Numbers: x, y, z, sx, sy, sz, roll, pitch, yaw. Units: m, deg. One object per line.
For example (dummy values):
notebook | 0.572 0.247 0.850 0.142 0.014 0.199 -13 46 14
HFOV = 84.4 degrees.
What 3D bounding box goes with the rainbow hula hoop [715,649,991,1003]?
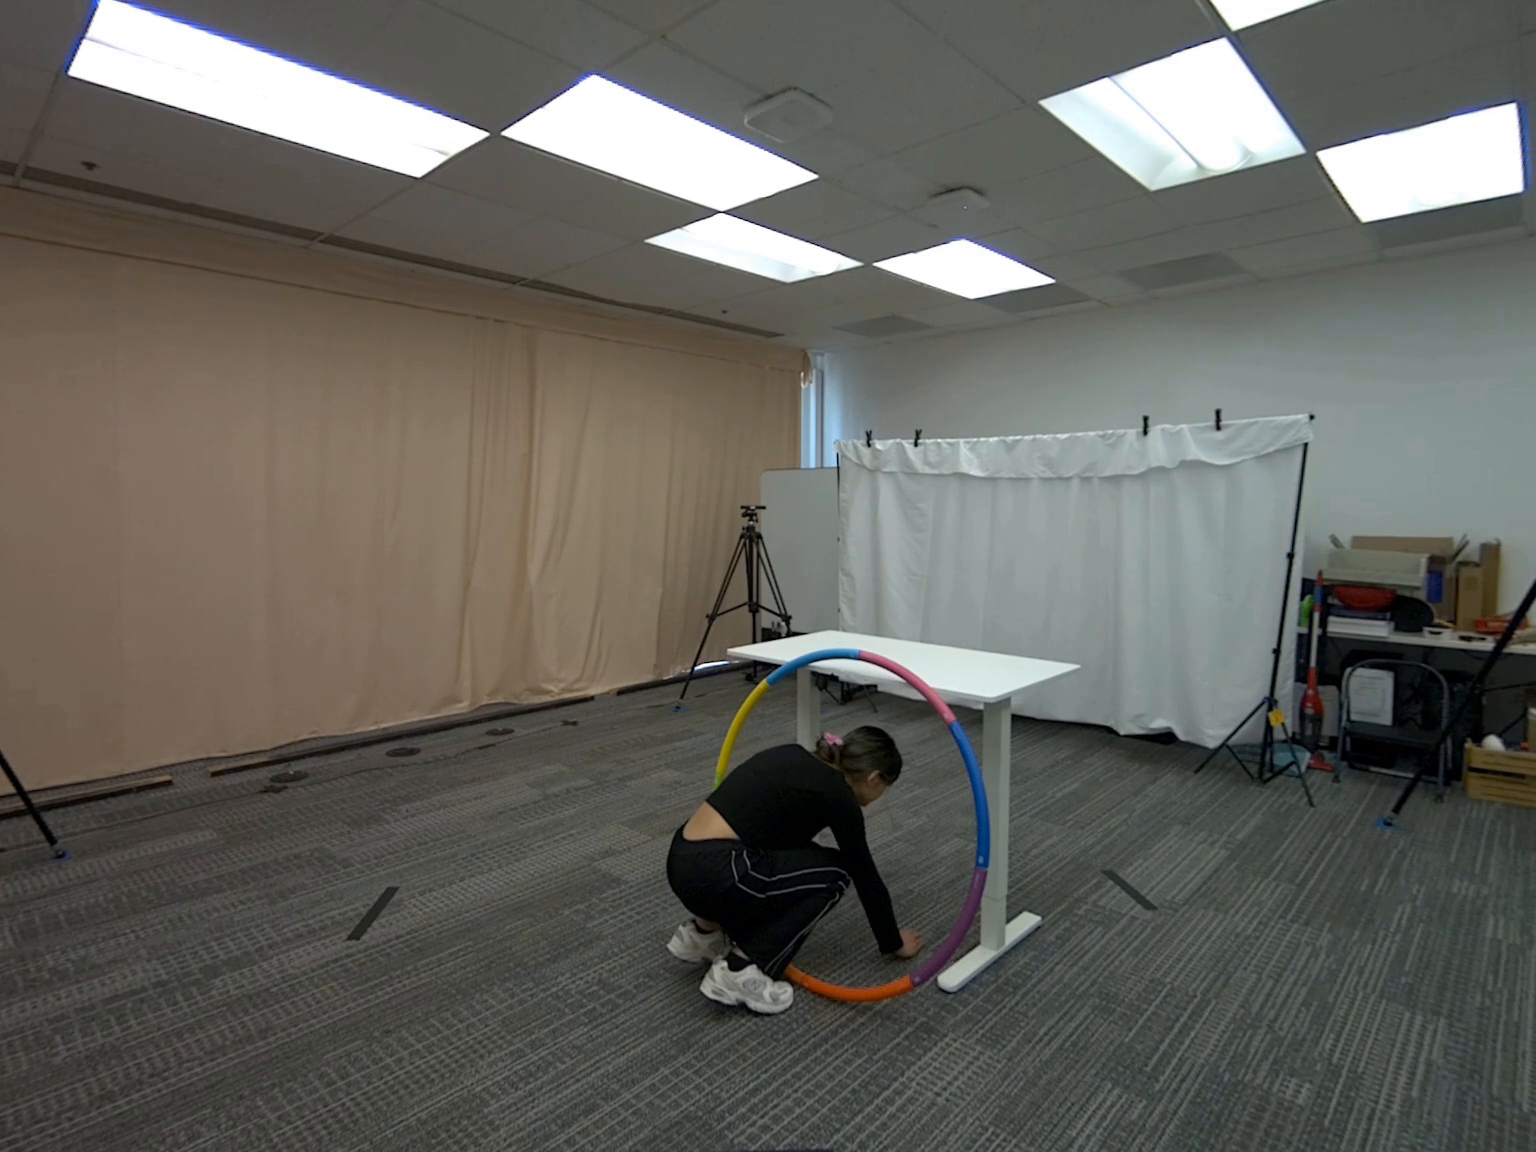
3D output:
rainbow hula hoop | 0.198 0.710 2.498 1.011 0.982 0.034 4 -10 43
